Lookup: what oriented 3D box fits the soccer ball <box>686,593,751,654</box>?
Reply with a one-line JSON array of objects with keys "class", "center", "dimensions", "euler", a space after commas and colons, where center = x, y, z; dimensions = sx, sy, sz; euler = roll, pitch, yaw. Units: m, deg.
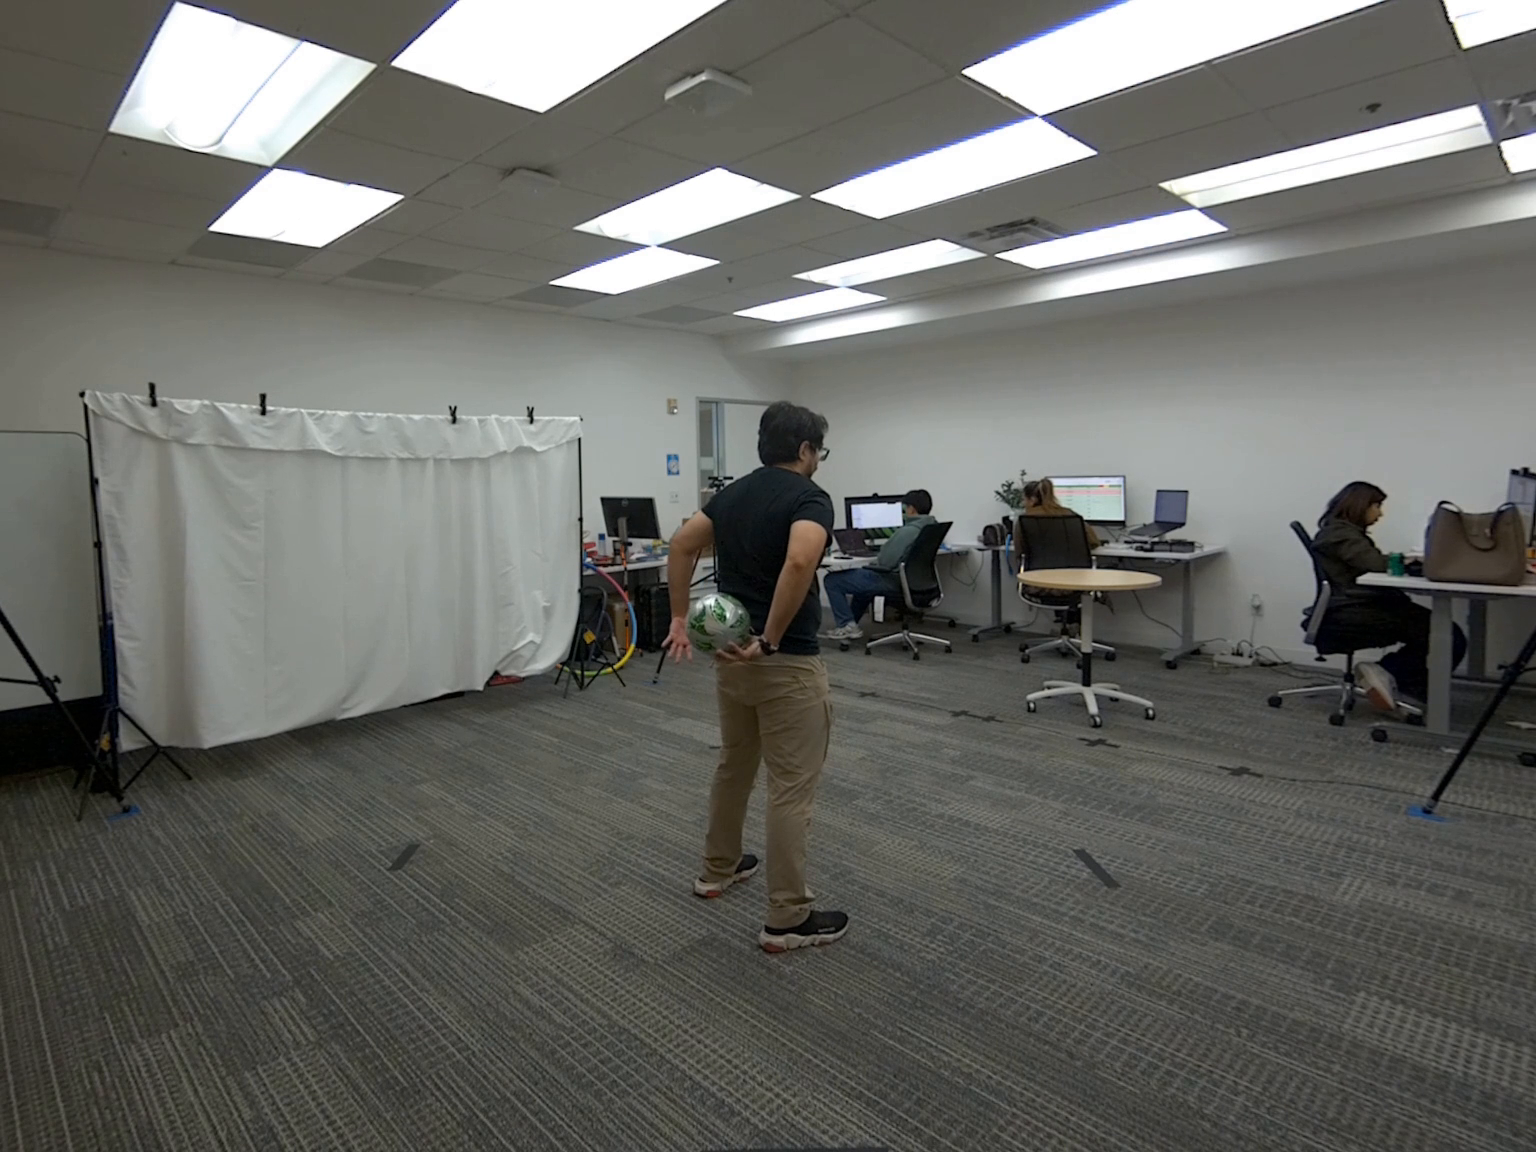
[{"class": "soccer ball", "center": [-0.141, 0.143, 2.472], "dimensions": [0.187, 0.187, 0.188], "euler": [-1, 5, -2]}]
